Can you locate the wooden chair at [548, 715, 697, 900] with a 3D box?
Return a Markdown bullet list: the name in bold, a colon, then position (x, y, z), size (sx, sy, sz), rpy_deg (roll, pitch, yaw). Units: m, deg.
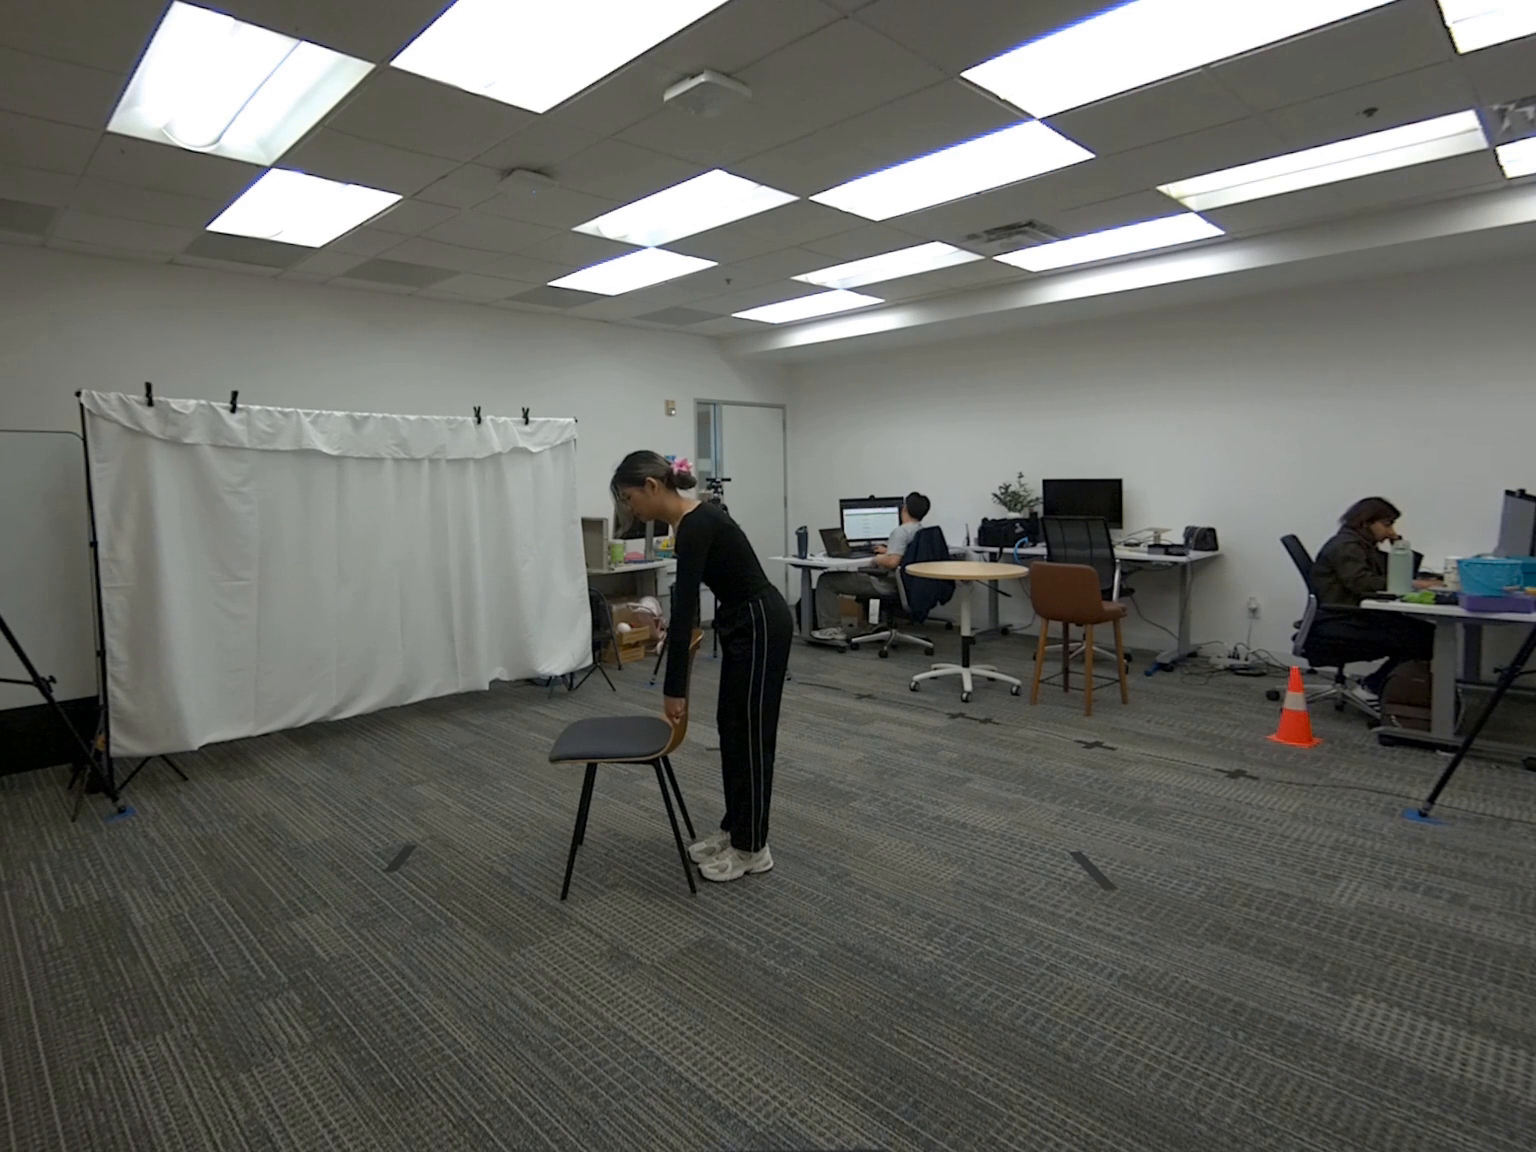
- **wooden chair**: position (-0.506, 0.623, 3.040), size (0.521, 0.874, 0.482), rpy_deg (2, 5, -4)
